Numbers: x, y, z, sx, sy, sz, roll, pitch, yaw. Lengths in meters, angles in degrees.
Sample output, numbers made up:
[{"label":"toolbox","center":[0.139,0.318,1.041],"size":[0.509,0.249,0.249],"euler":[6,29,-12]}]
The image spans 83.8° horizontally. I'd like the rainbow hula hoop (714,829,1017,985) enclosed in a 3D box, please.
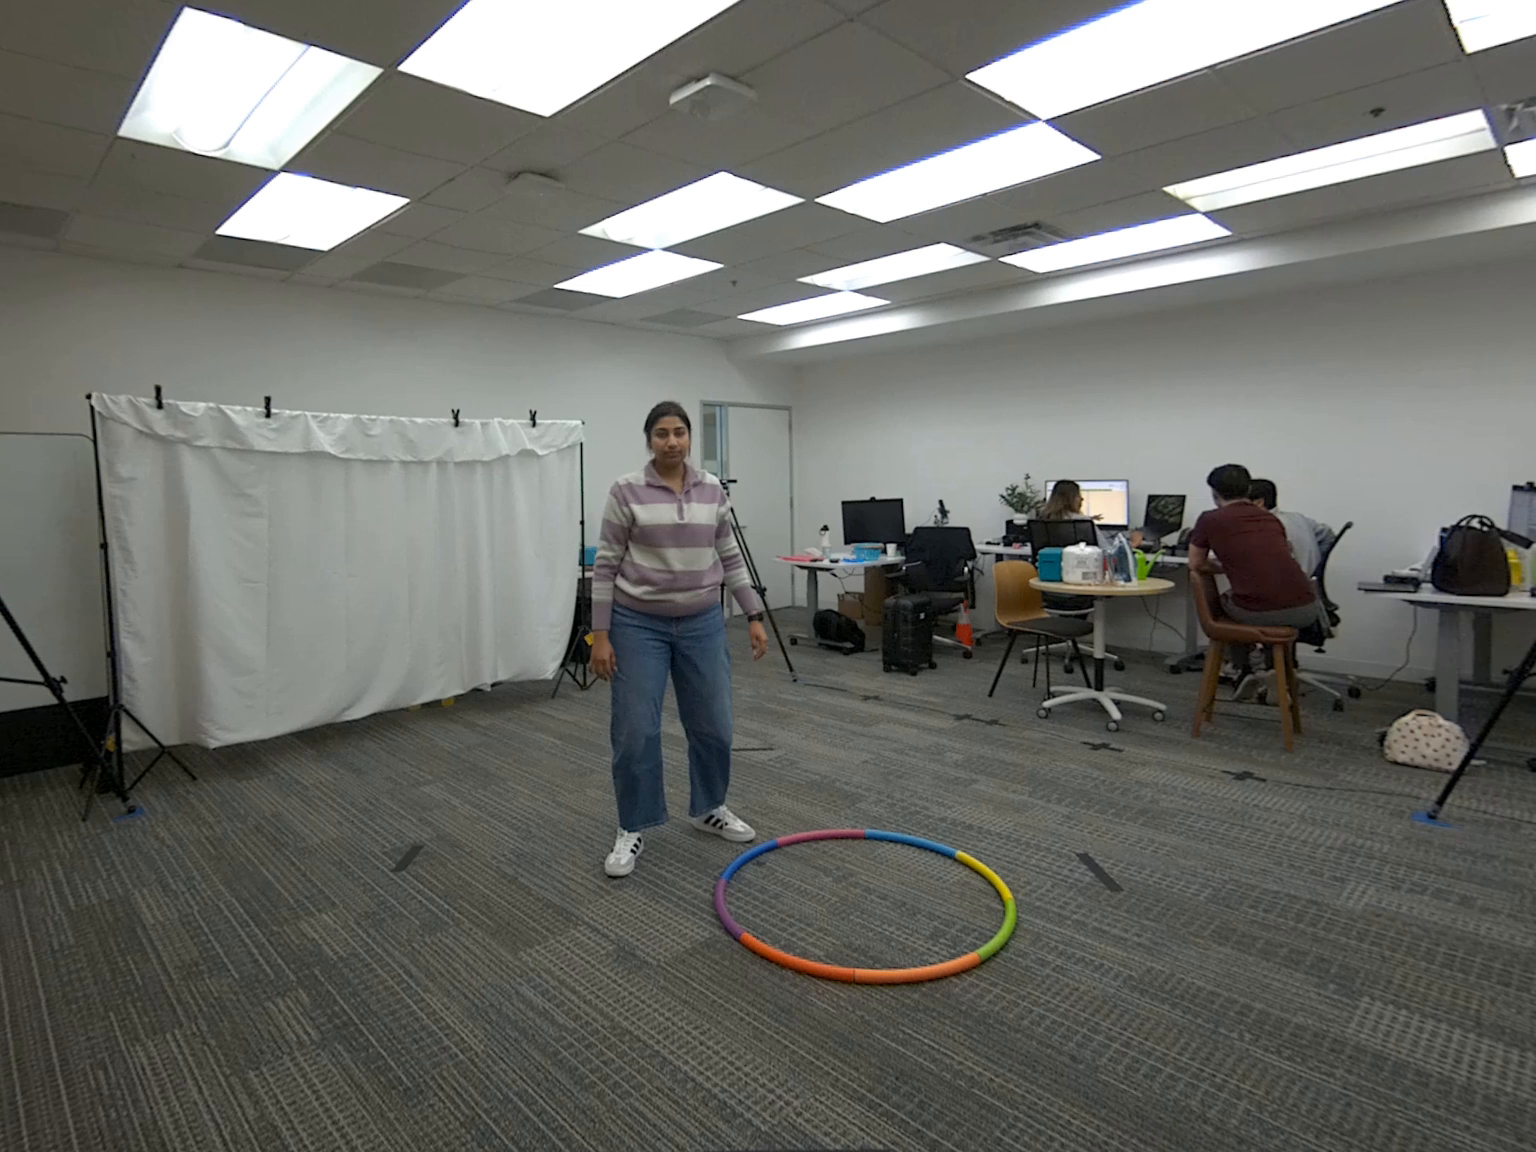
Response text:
[{"label":"rainbow hula hoop","center":[0.311,1.043,2.837],"size":[0.978,0.035,0.984],"euler":[-1,7,-2]}]
